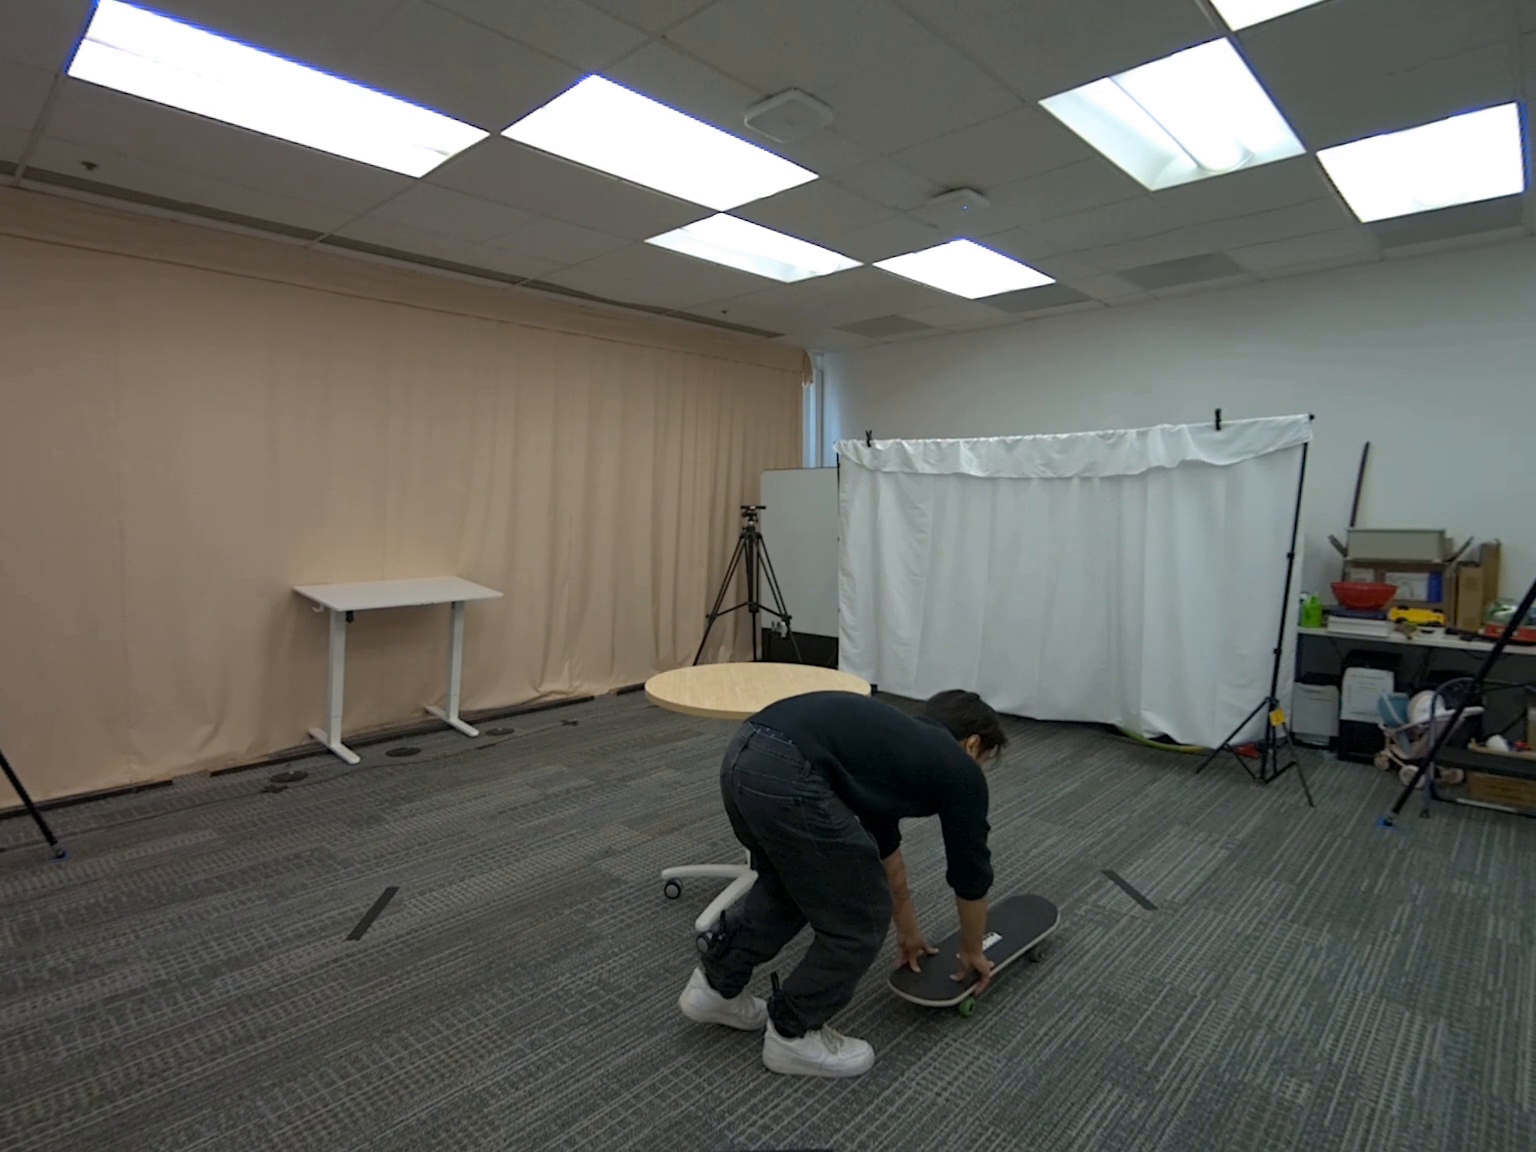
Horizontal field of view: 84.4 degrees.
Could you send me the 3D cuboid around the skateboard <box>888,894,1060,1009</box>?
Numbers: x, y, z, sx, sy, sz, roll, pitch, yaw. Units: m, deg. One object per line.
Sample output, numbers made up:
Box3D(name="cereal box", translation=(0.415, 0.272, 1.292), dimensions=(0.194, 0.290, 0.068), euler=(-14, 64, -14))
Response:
Box3D(name="skateboard", translation=(0.632, 1.132, 2.487), dimensions=(0.762, 0.110, 0.200), euler=(-6, 7, -44))
